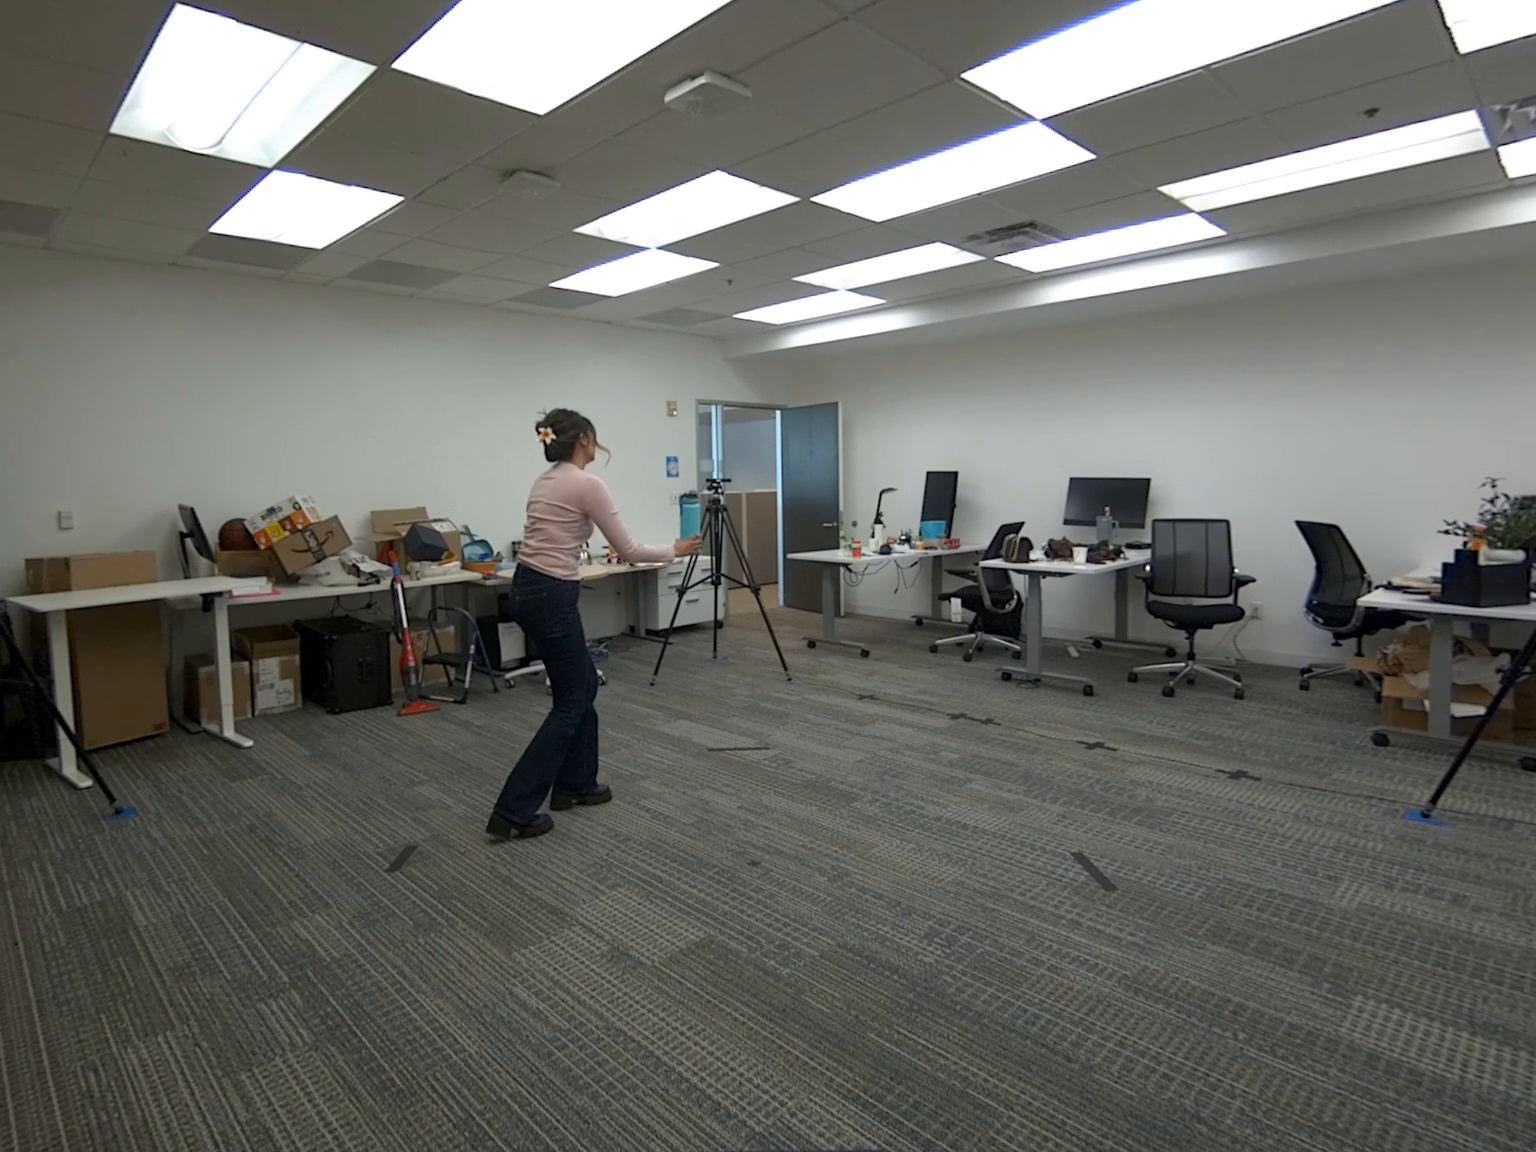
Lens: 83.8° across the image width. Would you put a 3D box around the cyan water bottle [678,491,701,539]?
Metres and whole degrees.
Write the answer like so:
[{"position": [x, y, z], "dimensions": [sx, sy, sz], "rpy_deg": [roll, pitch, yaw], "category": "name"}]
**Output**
[{"position": [-0.353, -0.232, 3.752], "dimensions": [0.092, 0.281, 0.093], "rpy_deg": [0, 9, -2], "category": "cyan water bottle"}]
